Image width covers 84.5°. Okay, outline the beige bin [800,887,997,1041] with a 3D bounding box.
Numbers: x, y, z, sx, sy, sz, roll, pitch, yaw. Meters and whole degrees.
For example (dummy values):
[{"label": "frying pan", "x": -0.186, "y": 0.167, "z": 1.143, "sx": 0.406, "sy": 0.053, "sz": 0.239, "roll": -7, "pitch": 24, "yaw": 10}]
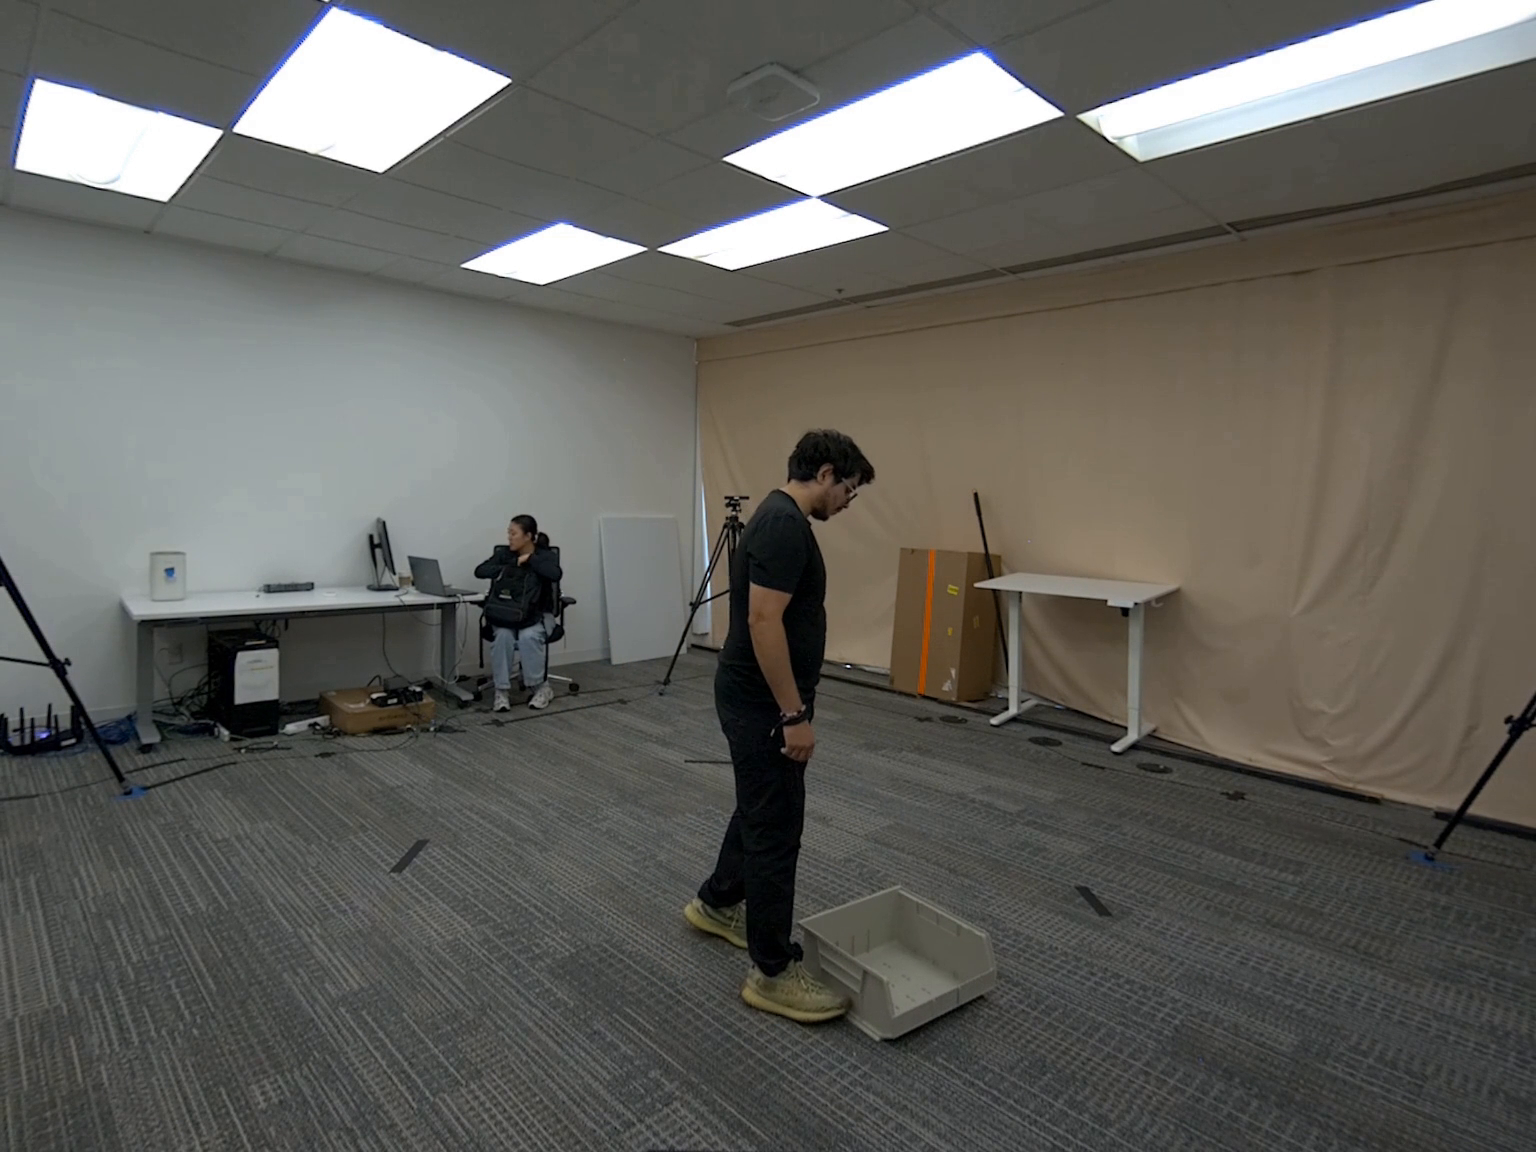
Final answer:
[{"label": "beige bin", "x": 0.359, "y": 1.096, "z": 2.387, "sx": 0.413, "sy": 0.188, "sz": 0.386, "roll": -3, "pitch": 5, "yaw": -37}]
